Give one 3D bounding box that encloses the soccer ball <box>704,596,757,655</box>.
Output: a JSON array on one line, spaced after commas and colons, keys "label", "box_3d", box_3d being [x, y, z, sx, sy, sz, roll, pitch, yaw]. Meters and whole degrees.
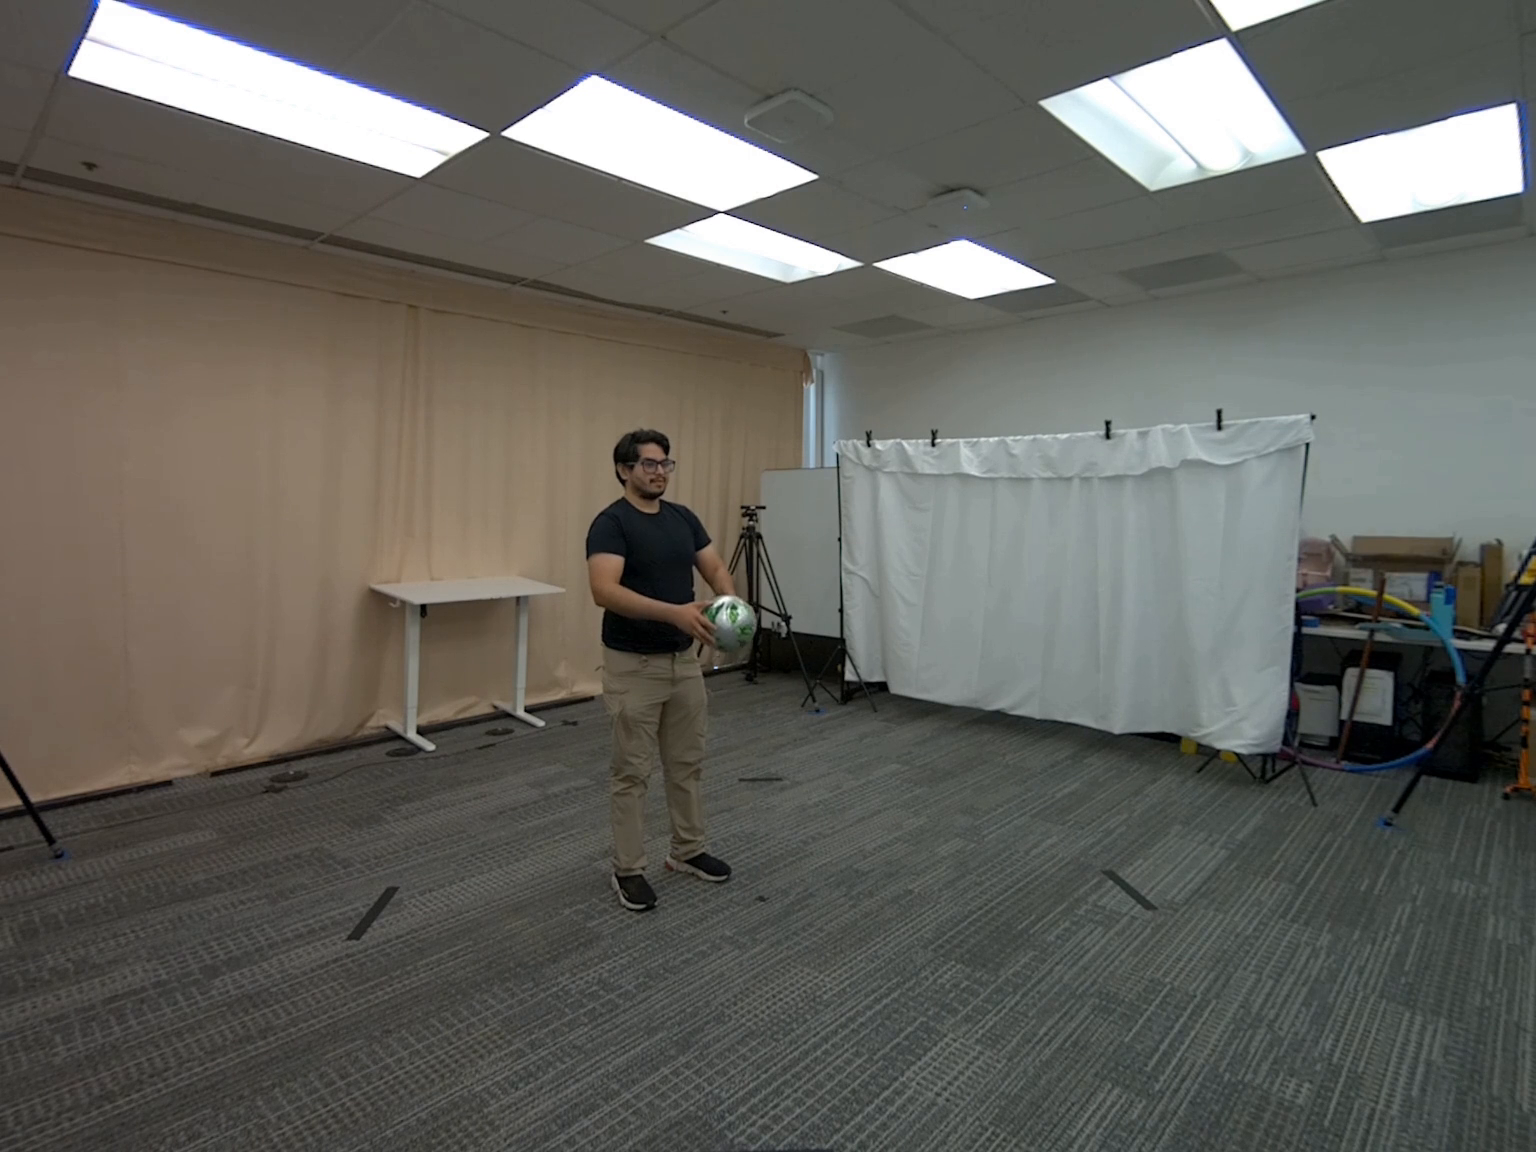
[{"label": "soccer ball", "box_3d": [-0.132, 0.149, 2.737, 0.187, 0.187, 0.188, 0, 4, -2]}]
